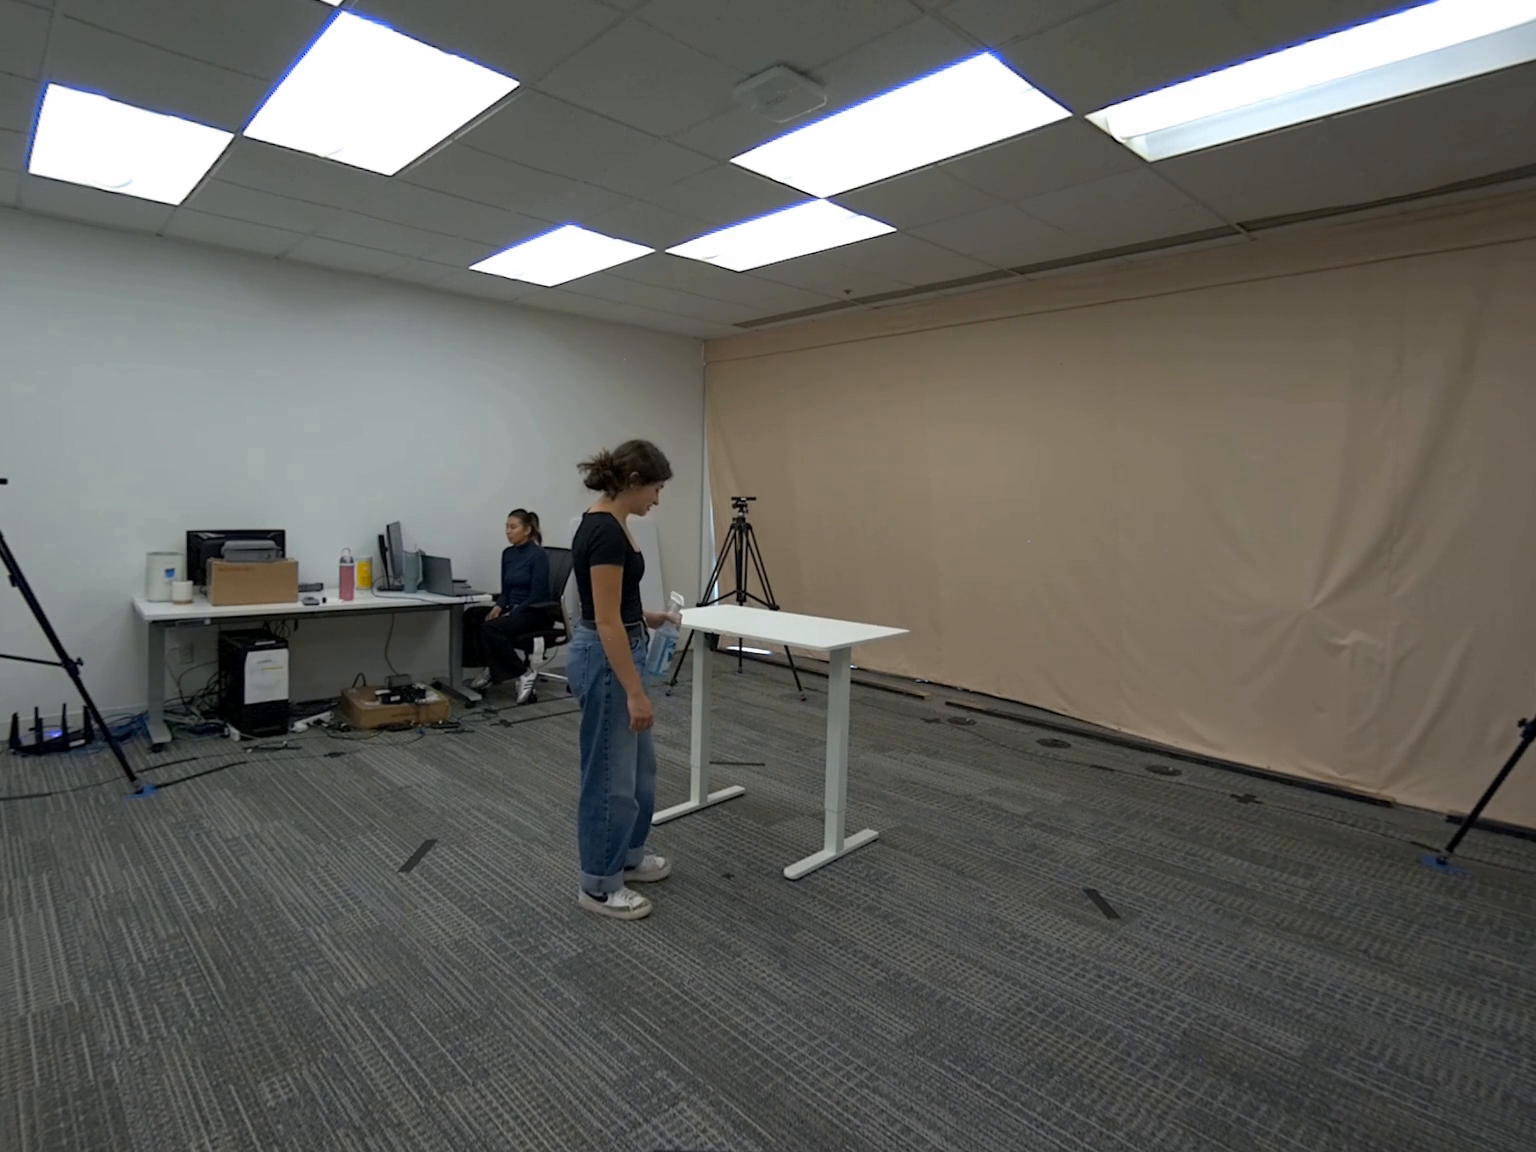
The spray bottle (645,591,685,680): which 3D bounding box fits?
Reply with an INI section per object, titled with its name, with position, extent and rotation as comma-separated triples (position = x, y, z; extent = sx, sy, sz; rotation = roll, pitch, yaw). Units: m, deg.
[spray bottle]
position = -0.372, 0.209, 2.996
extent = 0.086, 0.297, 0.091
rotation = 16, 0, -13
